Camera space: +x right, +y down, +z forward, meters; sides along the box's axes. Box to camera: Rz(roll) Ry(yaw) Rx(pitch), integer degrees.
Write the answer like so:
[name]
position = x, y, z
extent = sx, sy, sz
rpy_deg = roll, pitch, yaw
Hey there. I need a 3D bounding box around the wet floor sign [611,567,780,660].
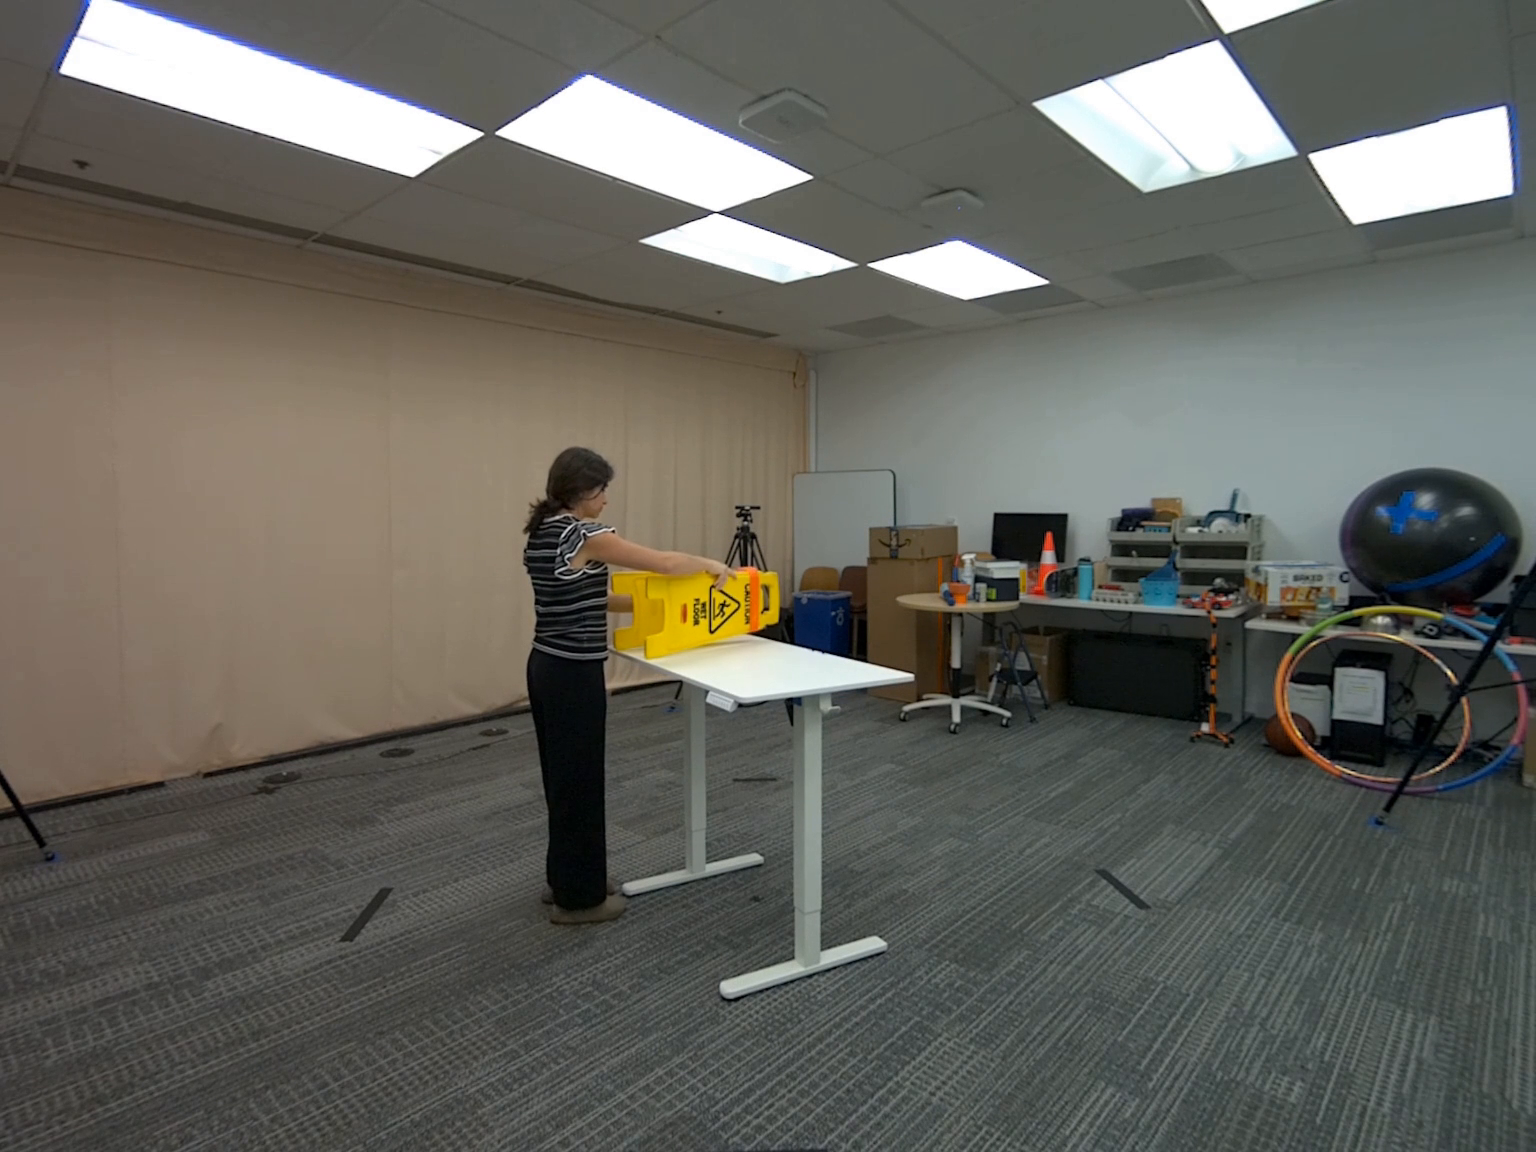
[wet floor sign]
position = -0.217, 0.109, 3.073
extent = 0.628, 0.281, 0.299
rpy_deg = -6, 6, -36
